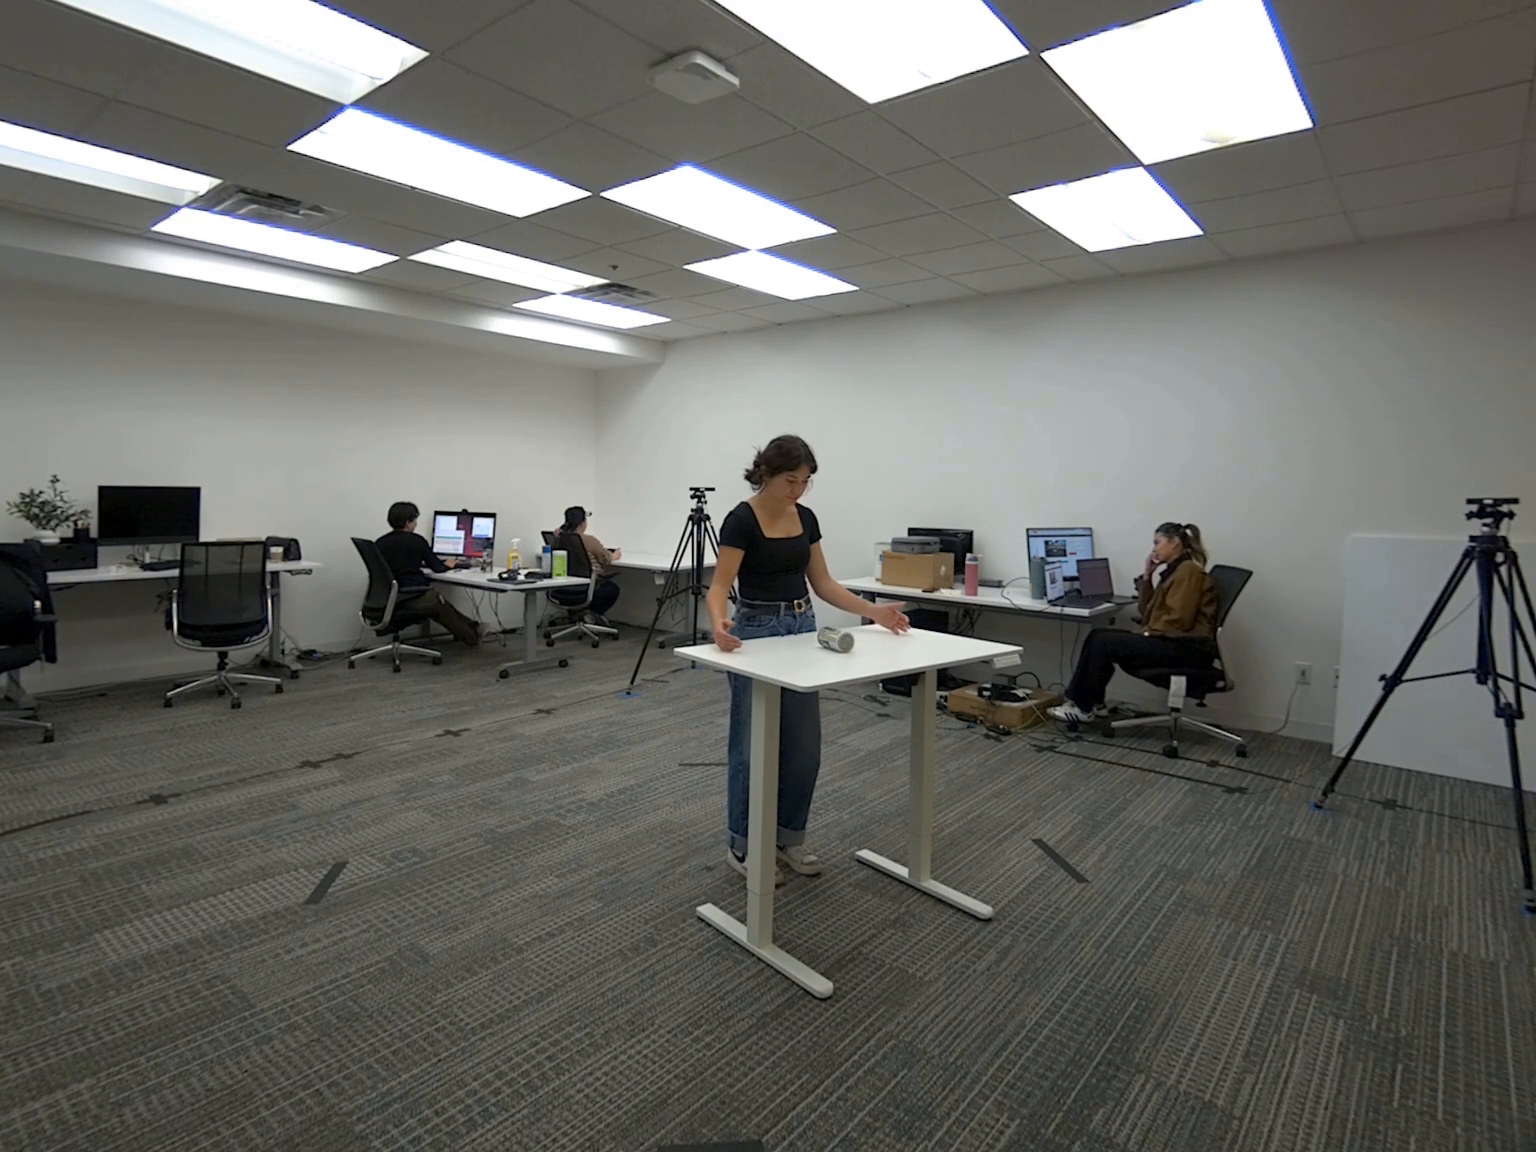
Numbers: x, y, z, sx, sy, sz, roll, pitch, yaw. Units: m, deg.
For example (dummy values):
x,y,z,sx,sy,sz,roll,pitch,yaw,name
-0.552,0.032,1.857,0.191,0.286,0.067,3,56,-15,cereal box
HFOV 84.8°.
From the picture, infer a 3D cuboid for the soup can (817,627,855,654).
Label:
x,y,z,sx,sy,sz,roll,pitch,yaw,name
0.206,0.199,2.709,0.065,0.067,0.125,-1,5,-25,soup can
